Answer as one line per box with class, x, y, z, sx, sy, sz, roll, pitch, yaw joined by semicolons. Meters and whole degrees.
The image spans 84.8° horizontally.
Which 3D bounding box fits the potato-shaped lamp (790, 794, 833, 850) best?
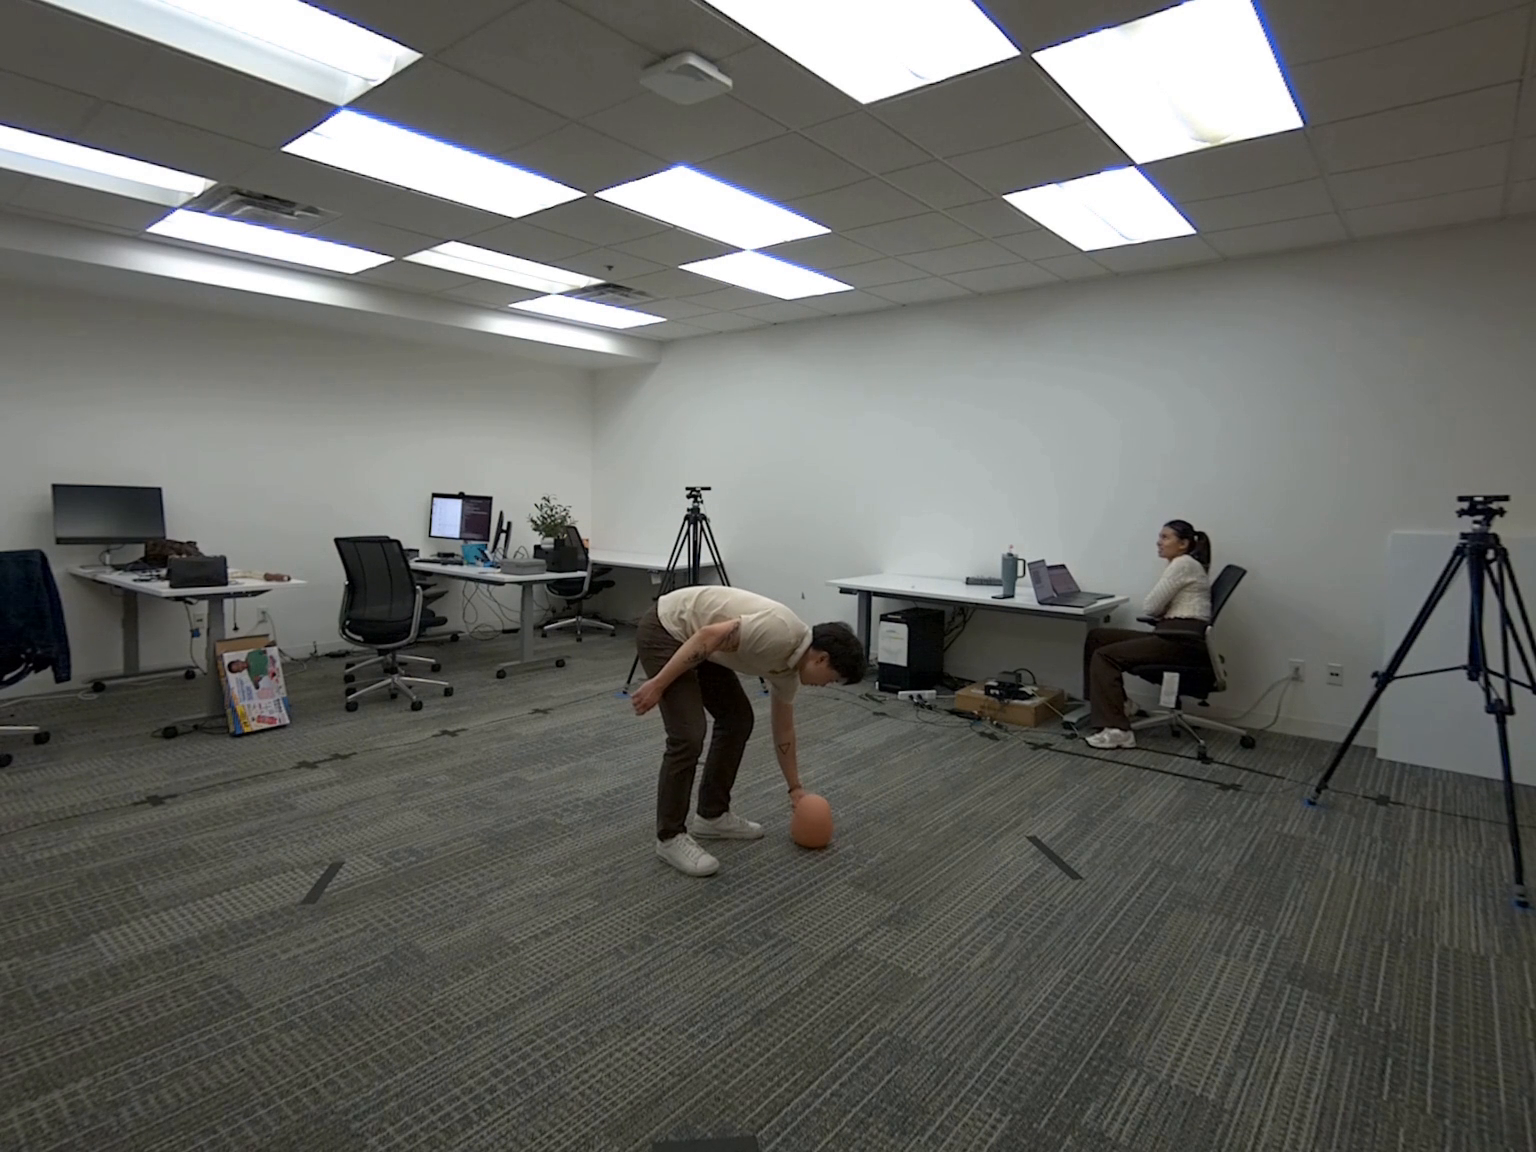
potato-shaped lamp;0.169;0.948;3.337;0.162;0.196;0.176;-1;12;-14
